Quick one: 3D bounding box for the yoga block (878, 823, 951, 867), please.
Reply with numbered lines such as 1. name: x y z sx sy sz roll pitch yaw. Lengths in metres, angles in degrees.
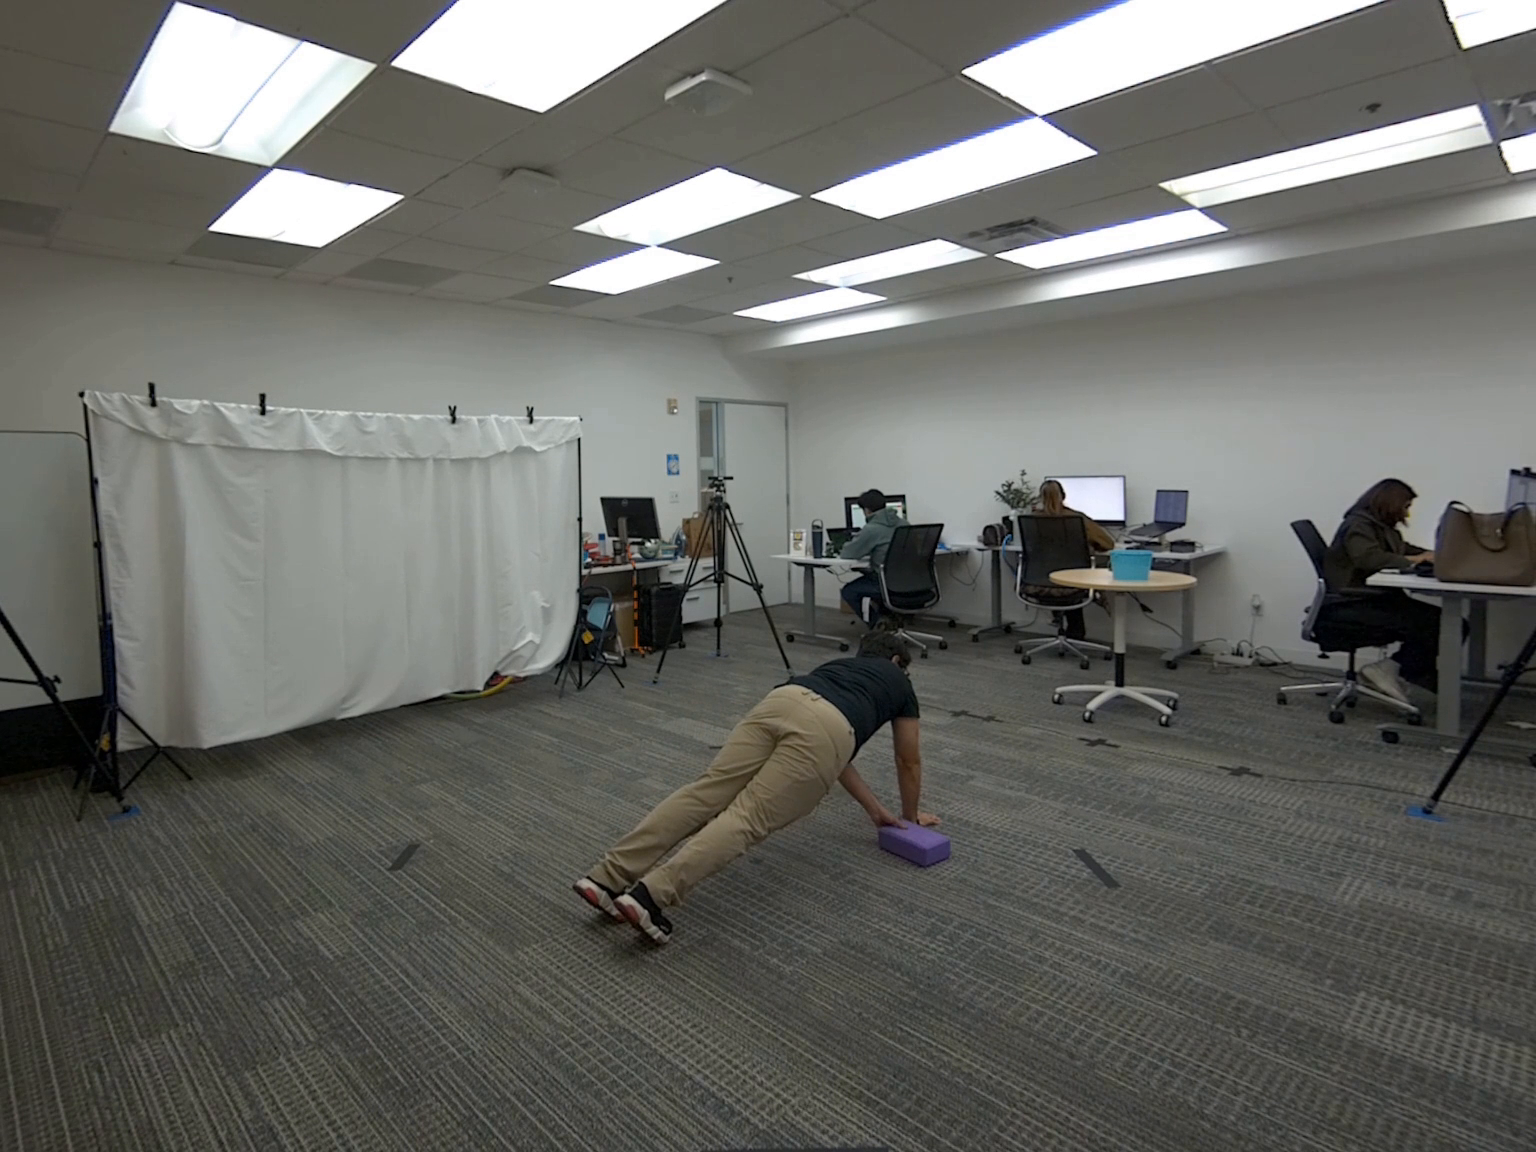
1. yoga block: 0.533 0.983 3.151 0.145 0.076 0.236 -4 6 -37
